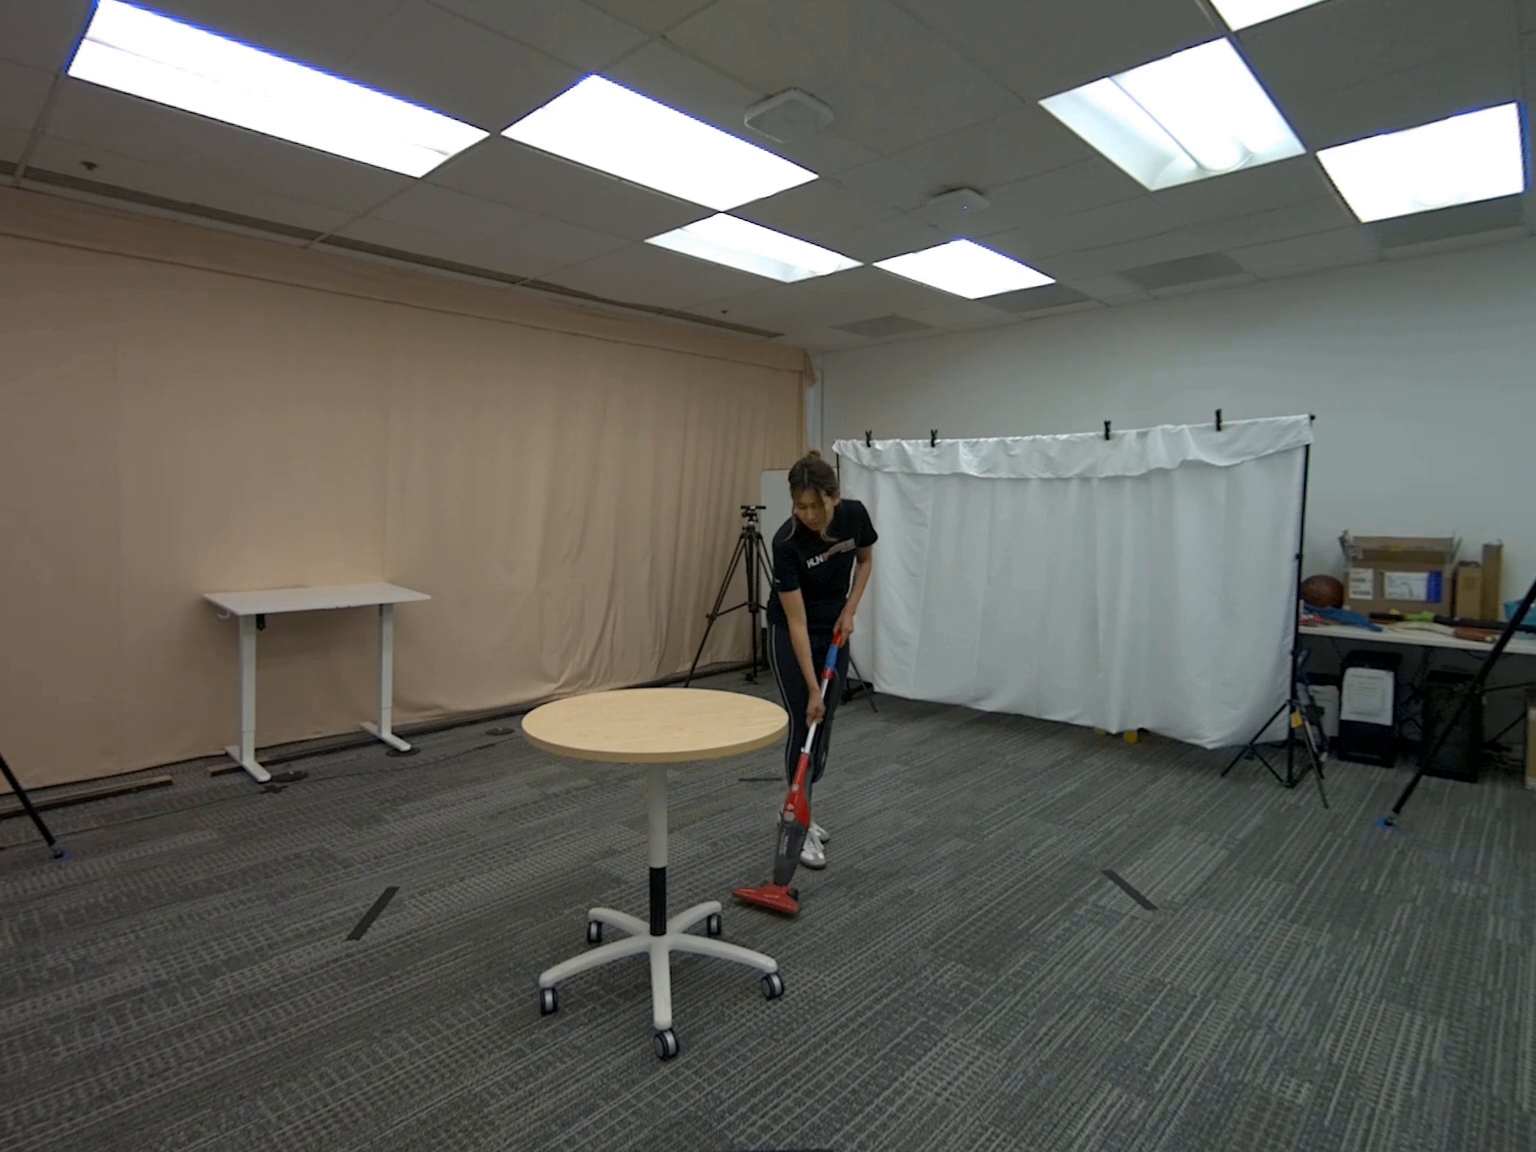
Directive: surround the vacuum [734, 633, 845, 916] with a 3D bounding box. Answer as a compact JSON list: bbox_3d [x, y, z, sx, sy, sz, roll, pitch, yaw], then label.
[{"bbox_3d":[0.160,0.677,3.139,0.259,1.055,0.139,6,-26,26],"label":"vacuum"}]
